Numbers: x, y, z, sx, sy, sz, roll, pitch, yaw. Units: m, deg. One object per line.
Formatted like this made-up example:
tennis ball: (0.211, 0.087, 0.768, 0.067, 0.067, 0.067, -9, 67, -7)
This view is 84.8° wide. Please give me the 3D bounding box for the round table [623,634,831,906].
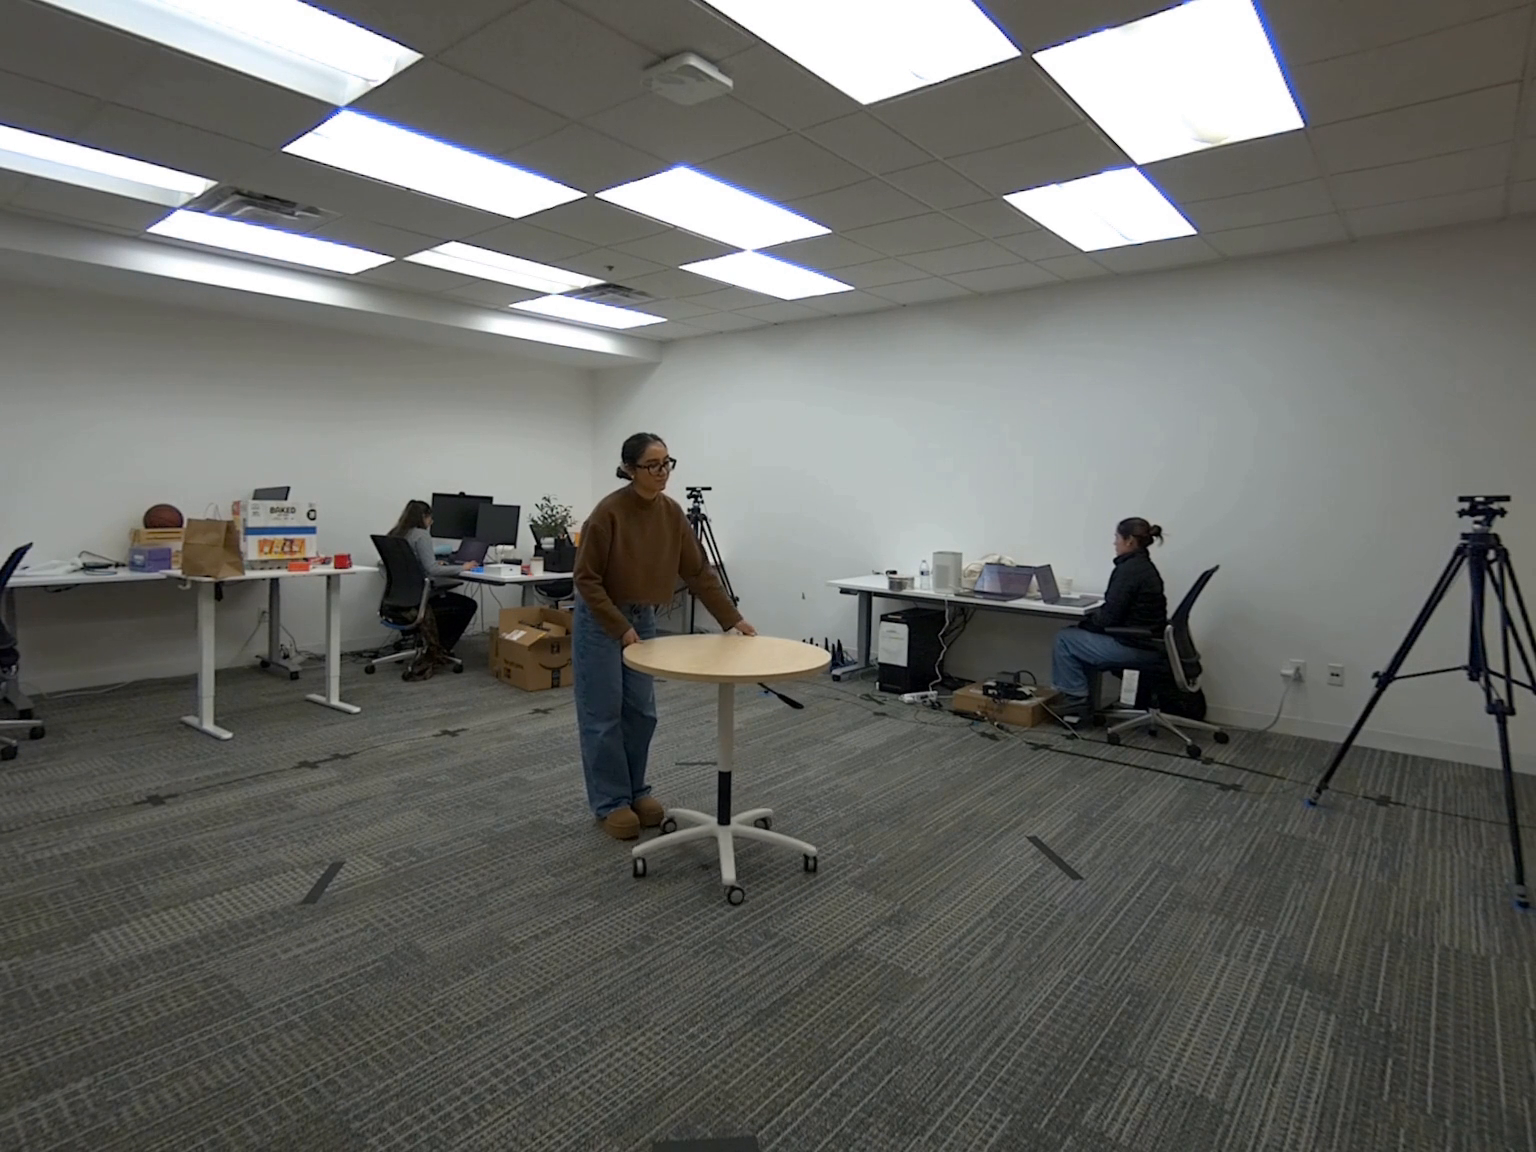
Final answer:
round table: (-0.169, 0.672, 3.161, 0.763, 0.791, 0.768, 1, 4, -2)
